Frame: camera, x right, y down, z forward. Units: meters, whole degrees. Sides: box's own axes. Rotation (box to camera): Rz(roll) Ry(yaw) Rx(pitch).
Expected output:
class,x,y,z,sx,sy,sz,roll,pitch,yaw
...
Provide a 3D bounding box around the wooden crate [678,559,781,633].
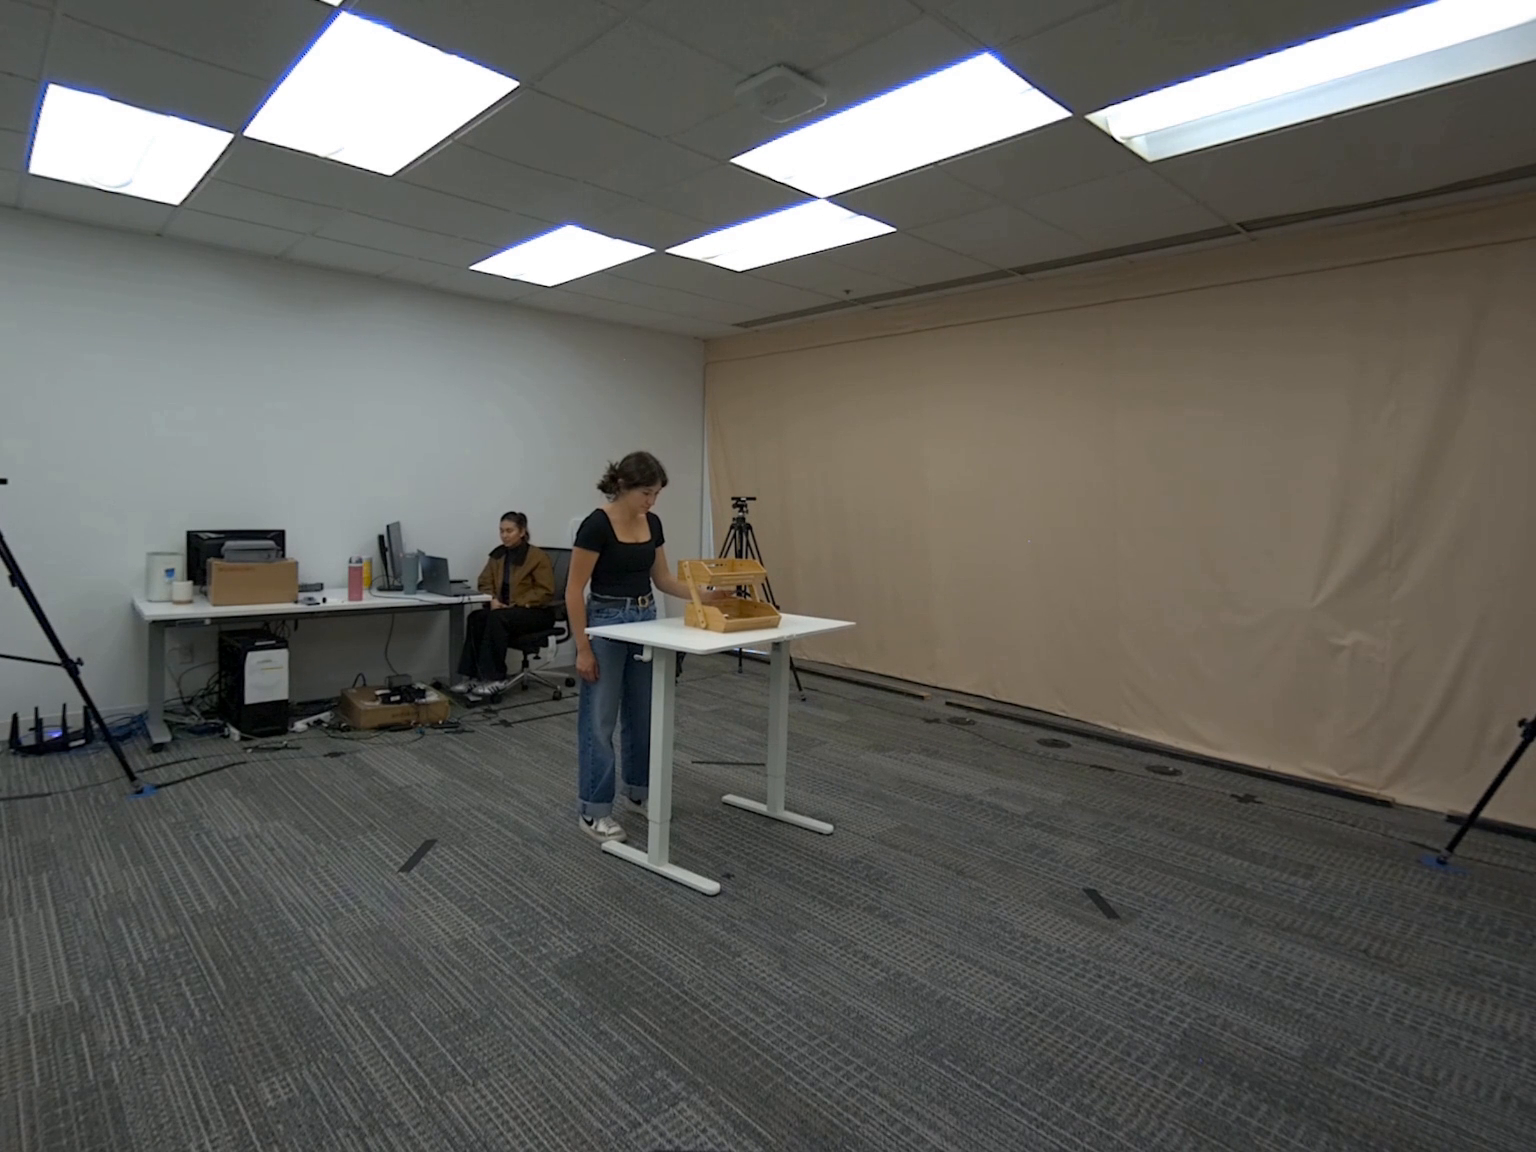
class,x,y,z,sx,sy,sz,roll,pitch,yaw
wooden crate,-0.166,0.067,3.375,0.317,0.273,0.309,-2,4,-43
